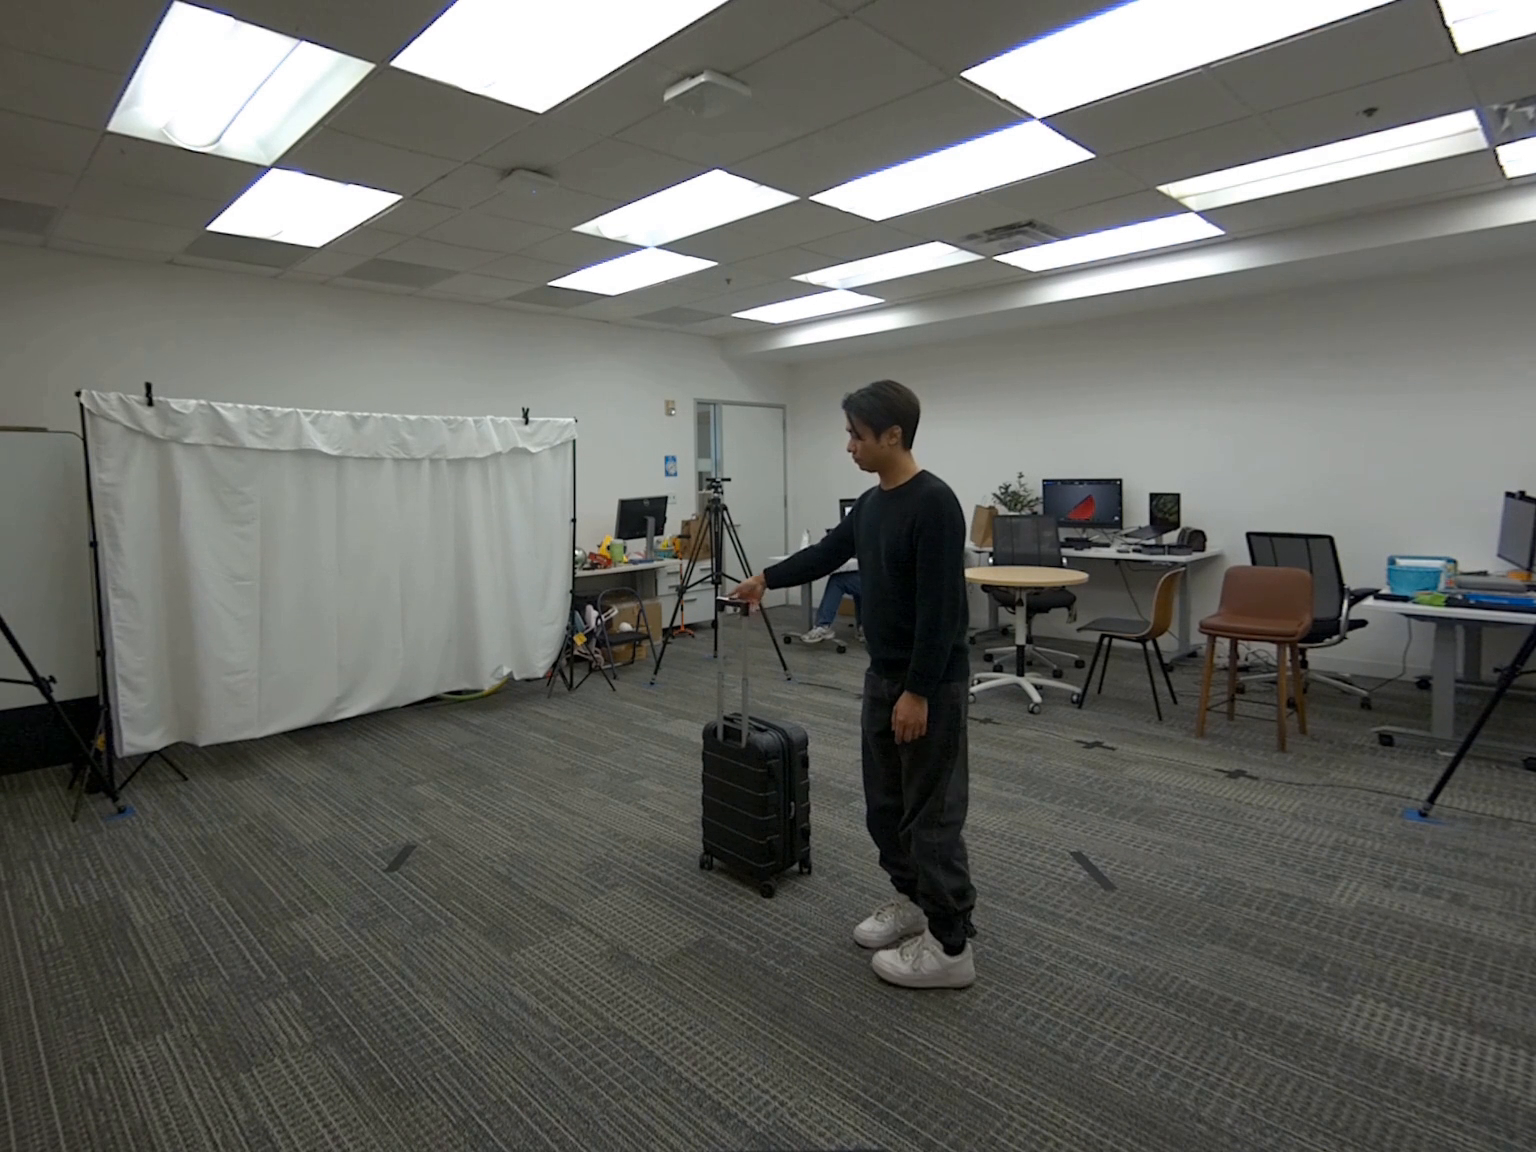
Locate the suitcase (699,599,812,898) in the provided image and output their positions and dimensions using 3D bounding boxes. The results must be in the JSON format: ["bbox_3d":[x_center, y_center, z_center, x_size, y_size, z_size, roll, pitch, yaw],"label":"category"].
[{"bbox_3d":[-0.042,0.573,3.026,0.250,0.976,0.396,-2,4,-44],"label":"suitcase"}]
